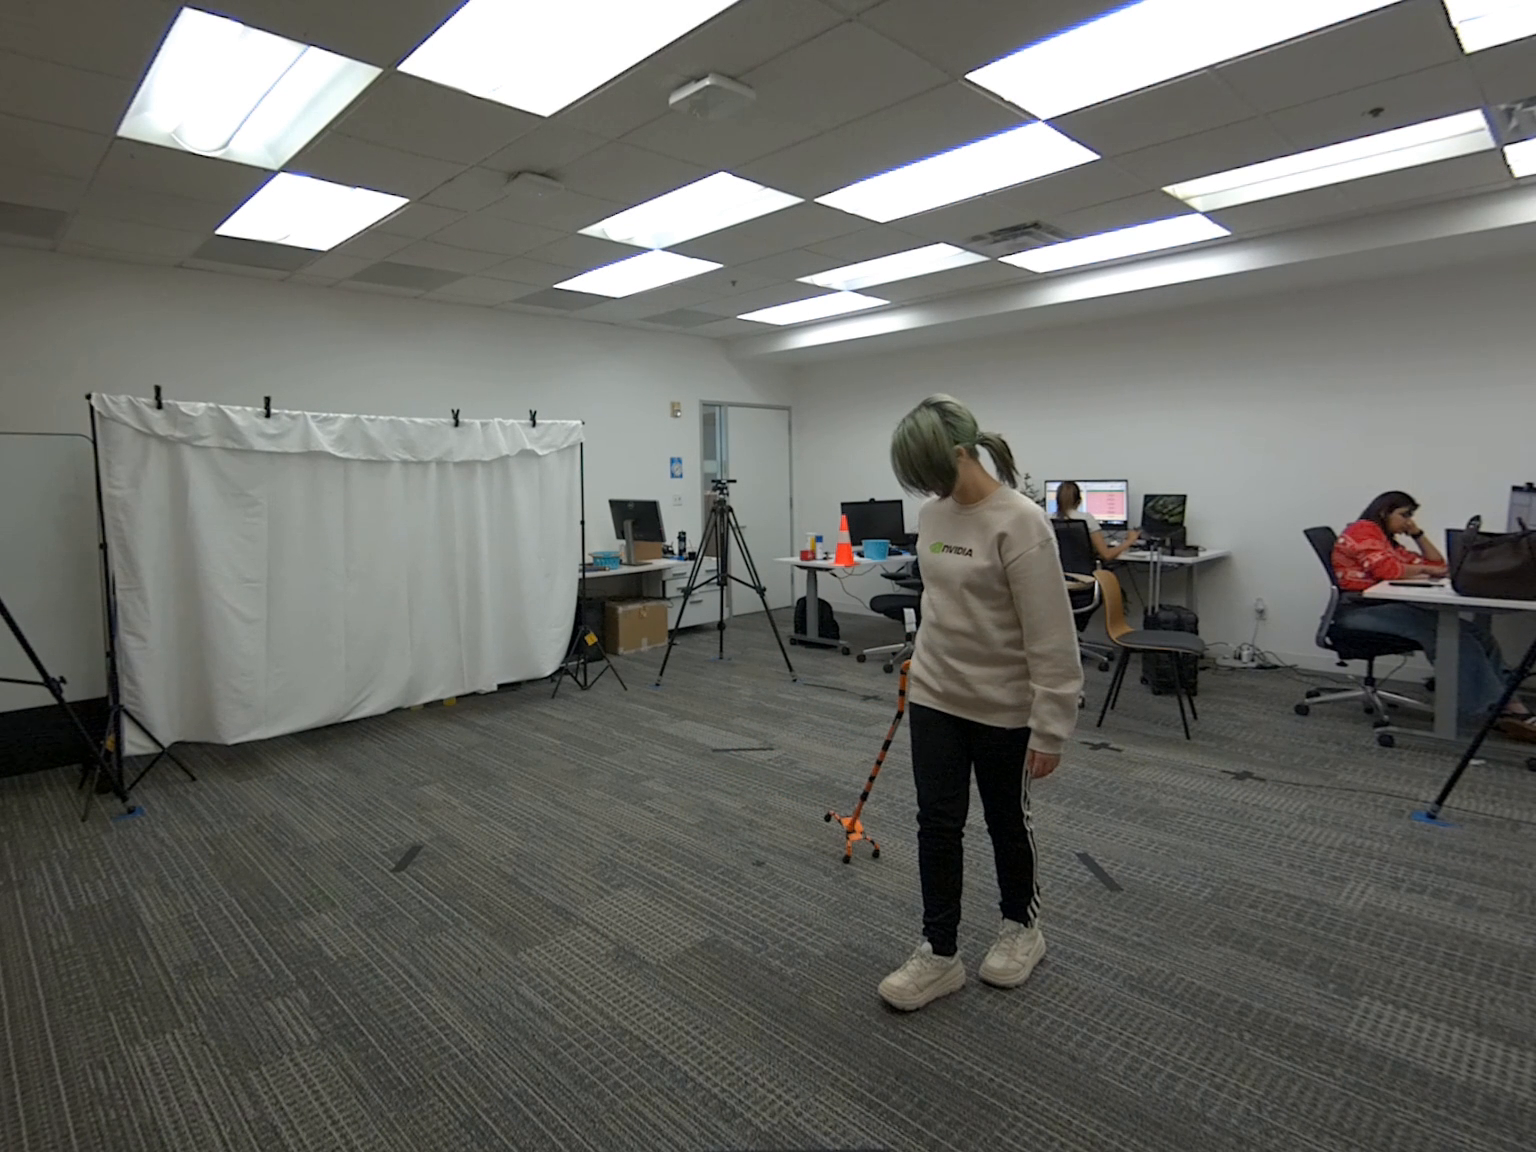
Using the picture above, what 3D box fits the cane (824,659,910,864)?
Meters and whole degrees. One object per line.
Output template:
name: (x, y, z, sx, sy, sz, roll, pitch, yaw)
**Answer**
cane: (0.394, 0.633, 2.932, 0.149, 0.890, 0.214, -2, 39, -20)
